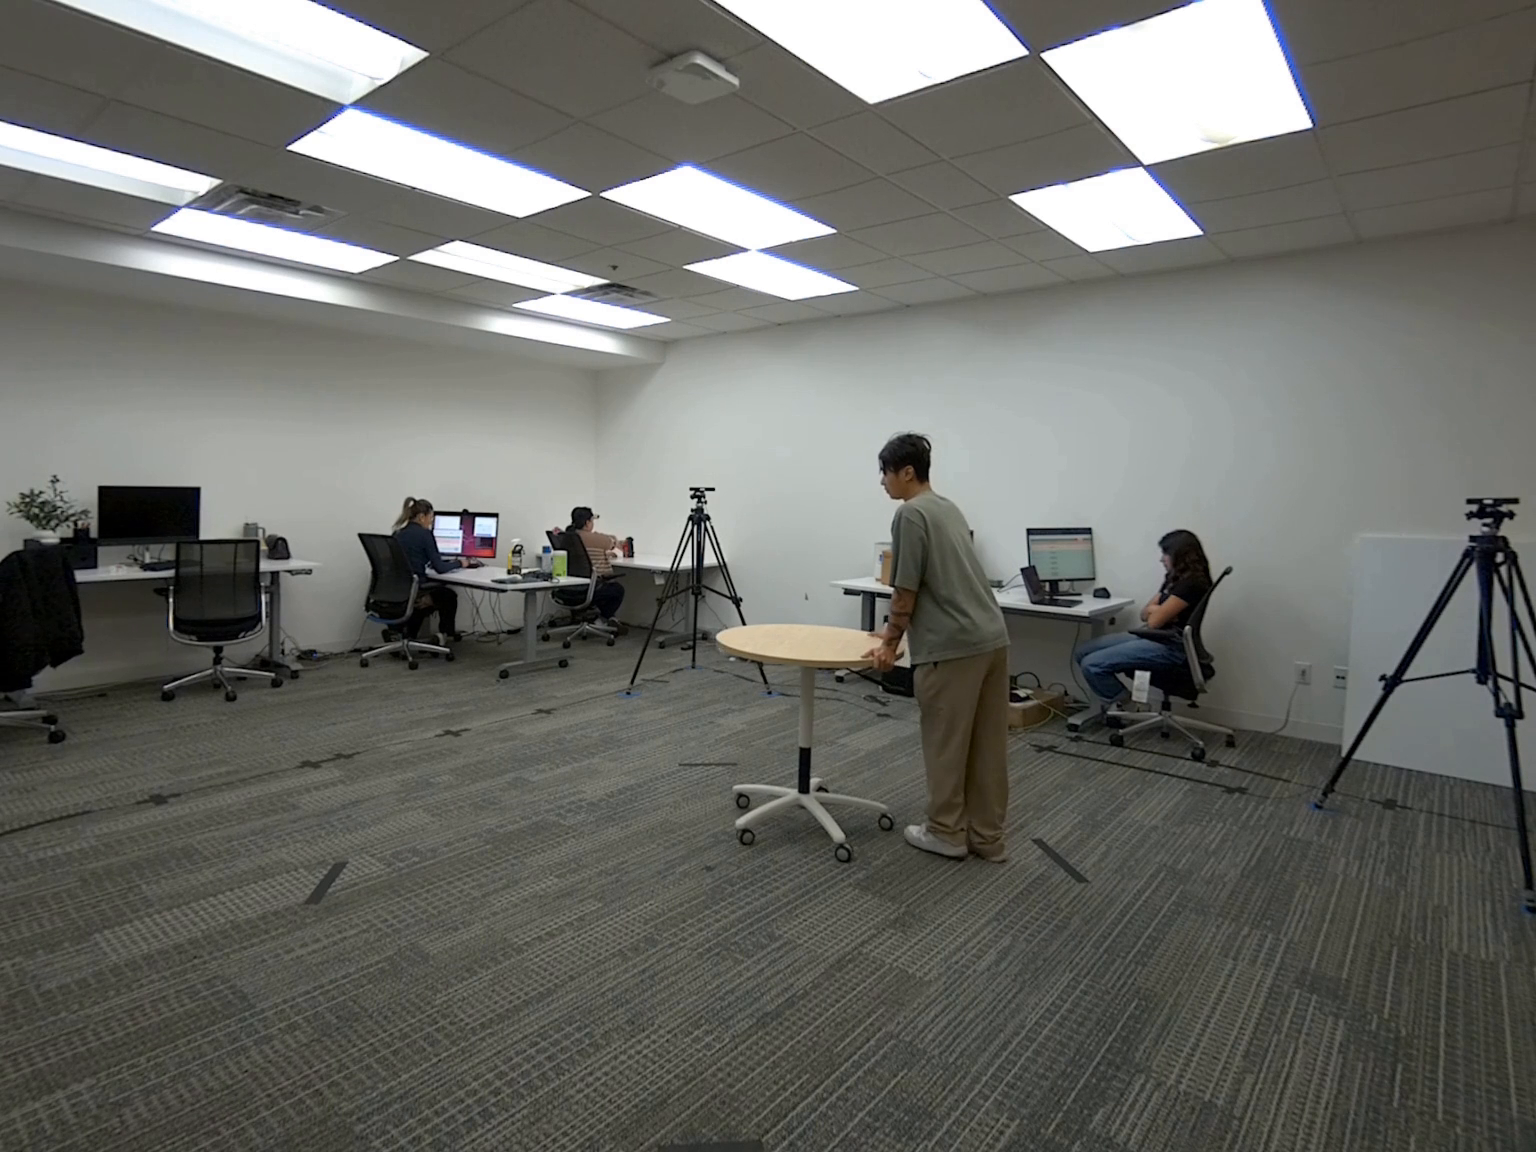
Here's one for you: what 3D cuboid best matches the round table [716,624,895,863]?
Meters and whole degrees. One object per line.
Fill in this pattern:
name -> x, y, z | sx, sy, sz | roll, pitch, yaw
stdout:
round table -> 0.136, 0.644, 3.524 | 0.784, 0.784, 0.789 | 2, 5, -2
